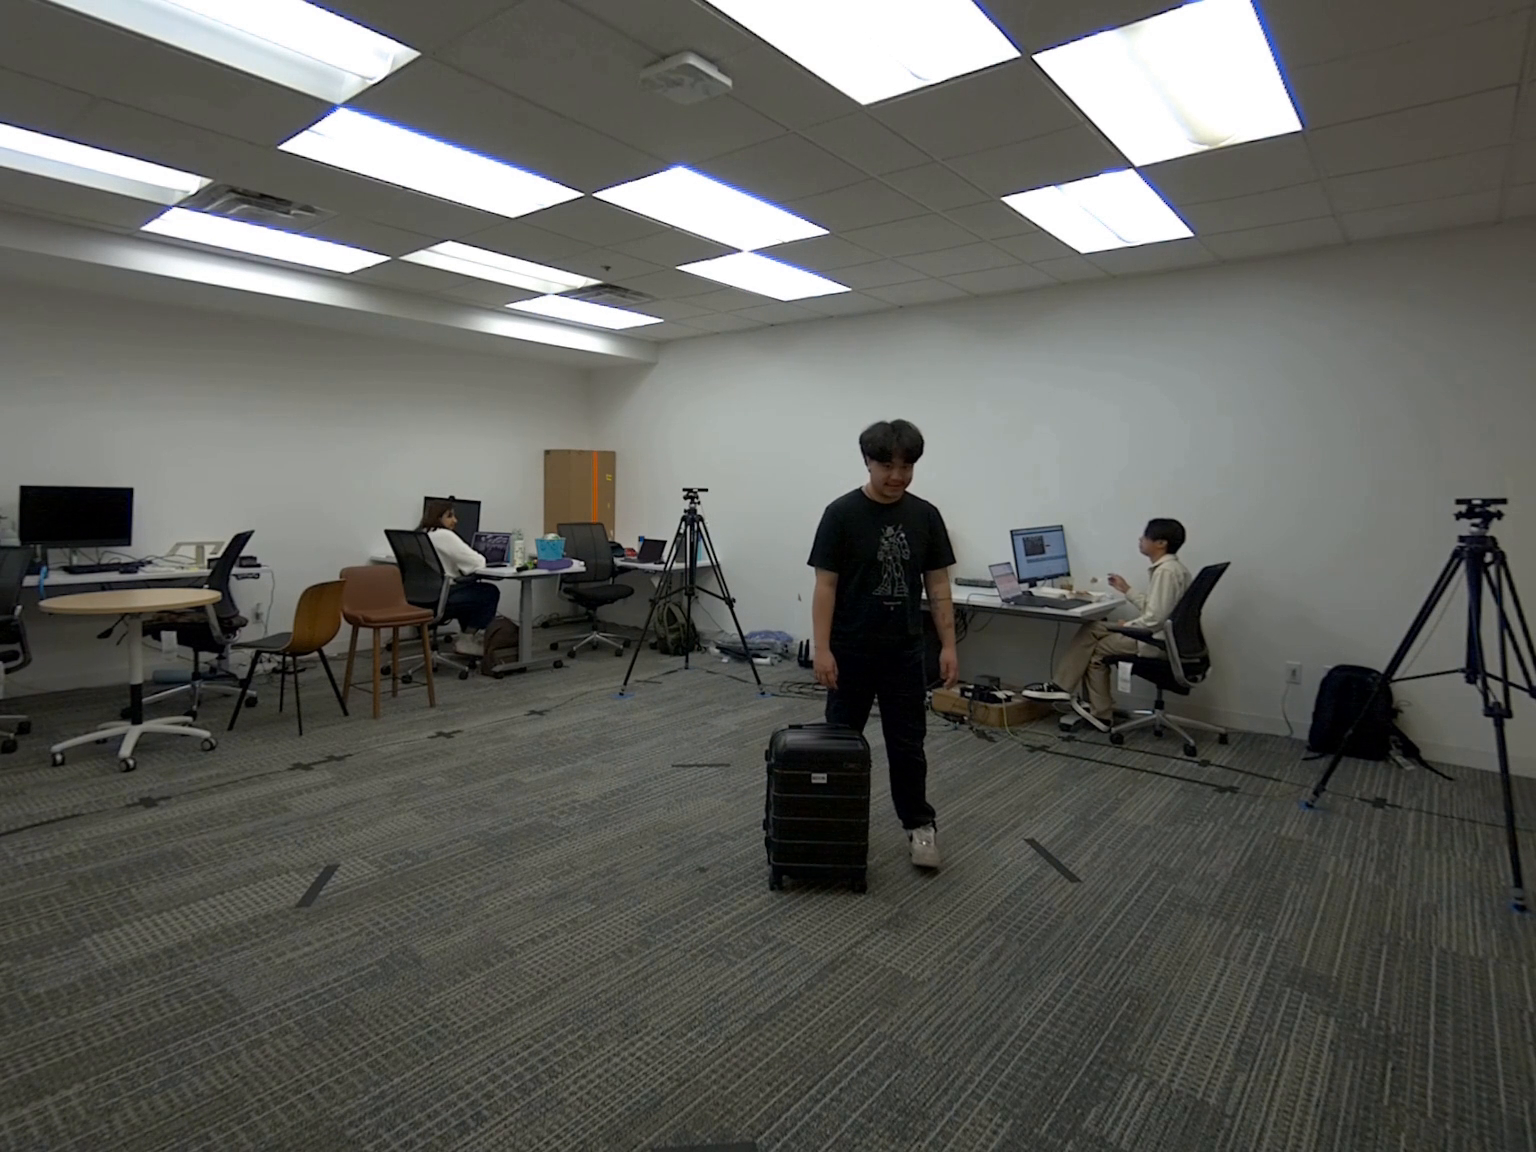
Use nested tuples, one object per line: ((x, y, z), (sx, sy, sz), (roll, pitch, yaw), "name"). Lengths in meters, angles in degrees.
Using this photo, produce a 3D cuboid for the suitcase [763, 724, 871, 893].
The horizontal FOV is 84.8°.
((0.170, 0.805, 3.042), (0.375, 0.547, 0.249), (1, 4, -2), "suitcase")
